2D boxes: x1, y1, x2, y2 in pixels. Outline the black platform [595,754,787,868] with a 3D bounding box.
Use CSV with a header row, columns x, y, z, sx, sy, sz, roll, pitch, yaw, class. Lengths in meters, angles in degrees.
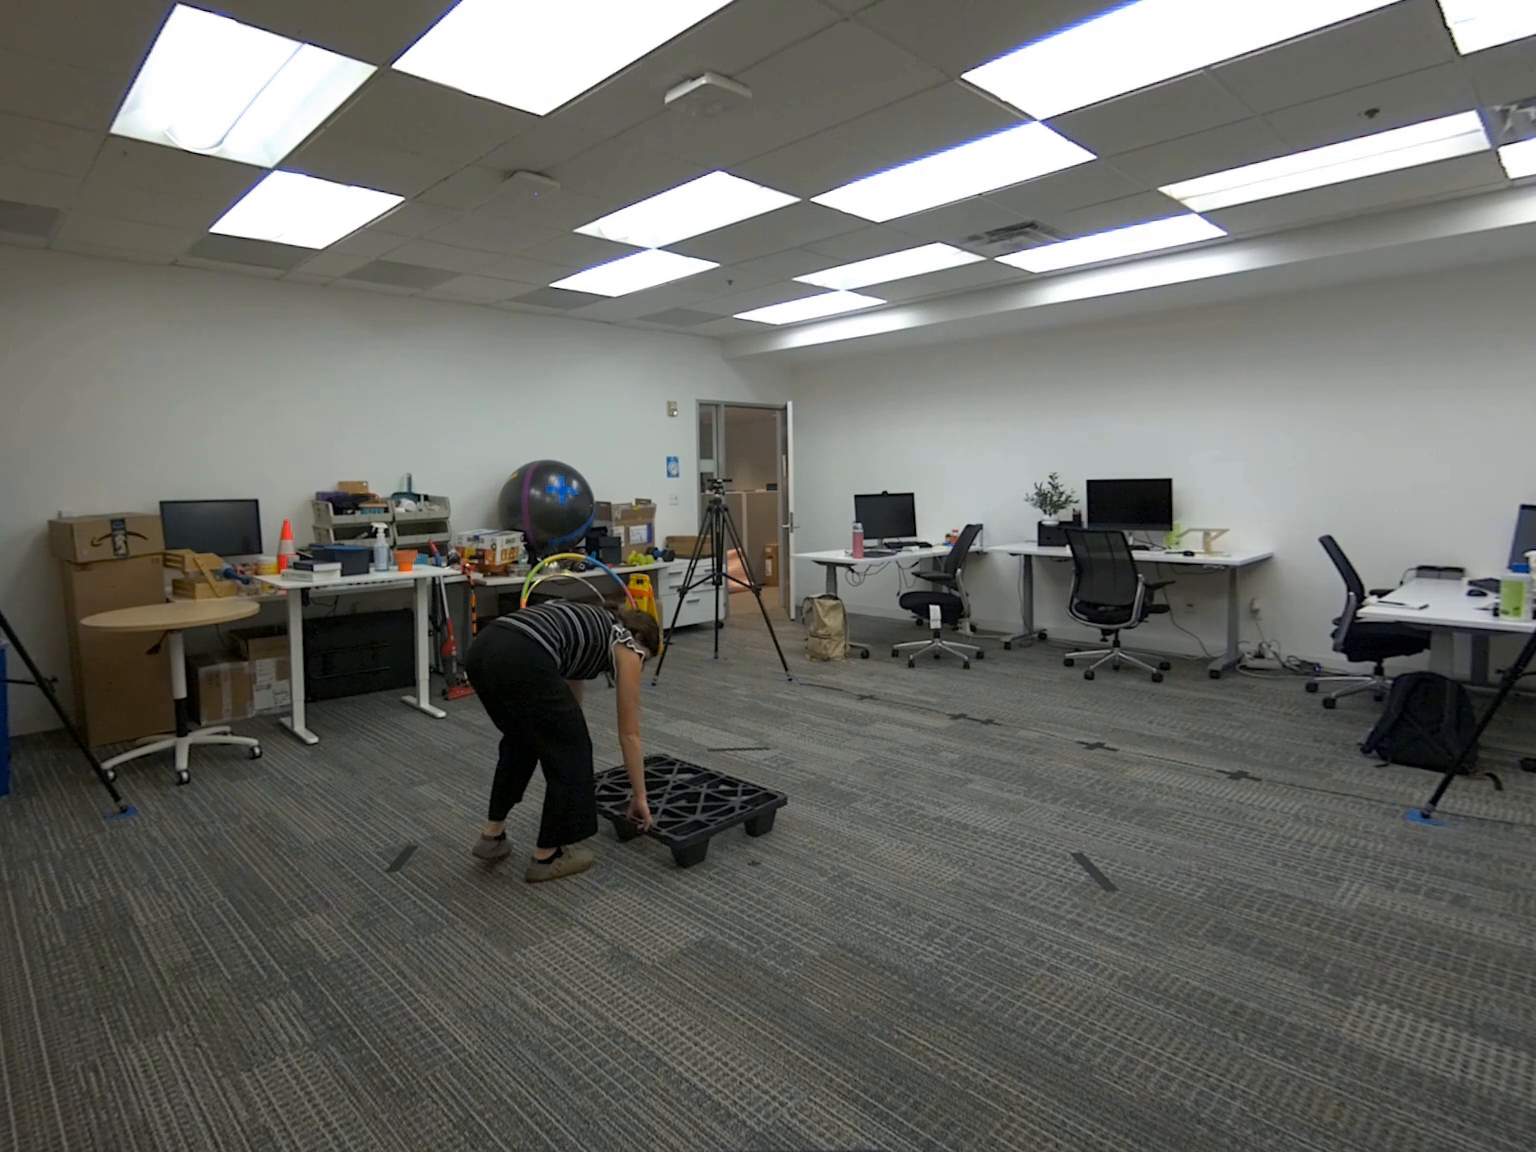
x,y,z,sx,sy,sz,roll,pitch,yaw,class
-0.406,0.939,3.495,0.831,0.143,0.589,5,8,44,black platform
